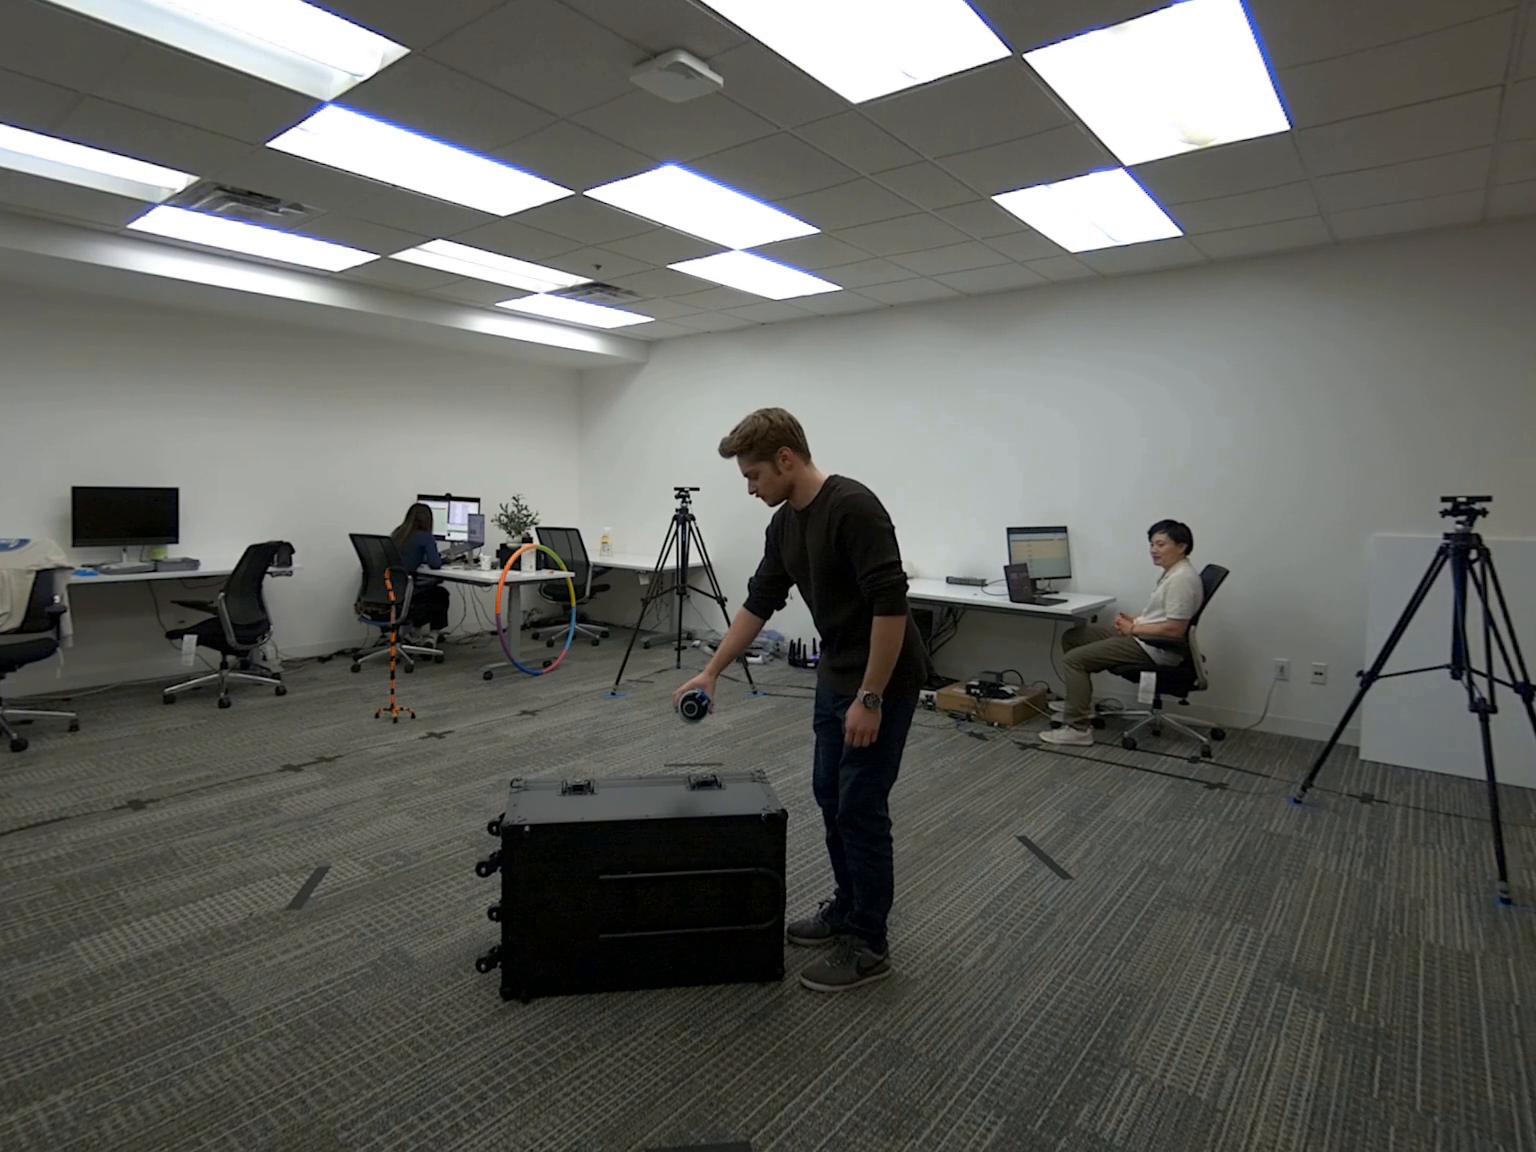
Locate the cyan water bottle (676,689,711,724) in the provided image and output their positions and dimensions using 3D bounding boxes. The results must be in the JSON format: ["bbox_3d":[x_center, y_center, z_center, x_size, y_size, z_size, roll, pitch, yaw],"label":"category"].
[{"bbox_3d":[-0.230,0.386,2.511,0.092,0.093,0.282,1,-10,-8],"label":"cyan water bottle"}]
